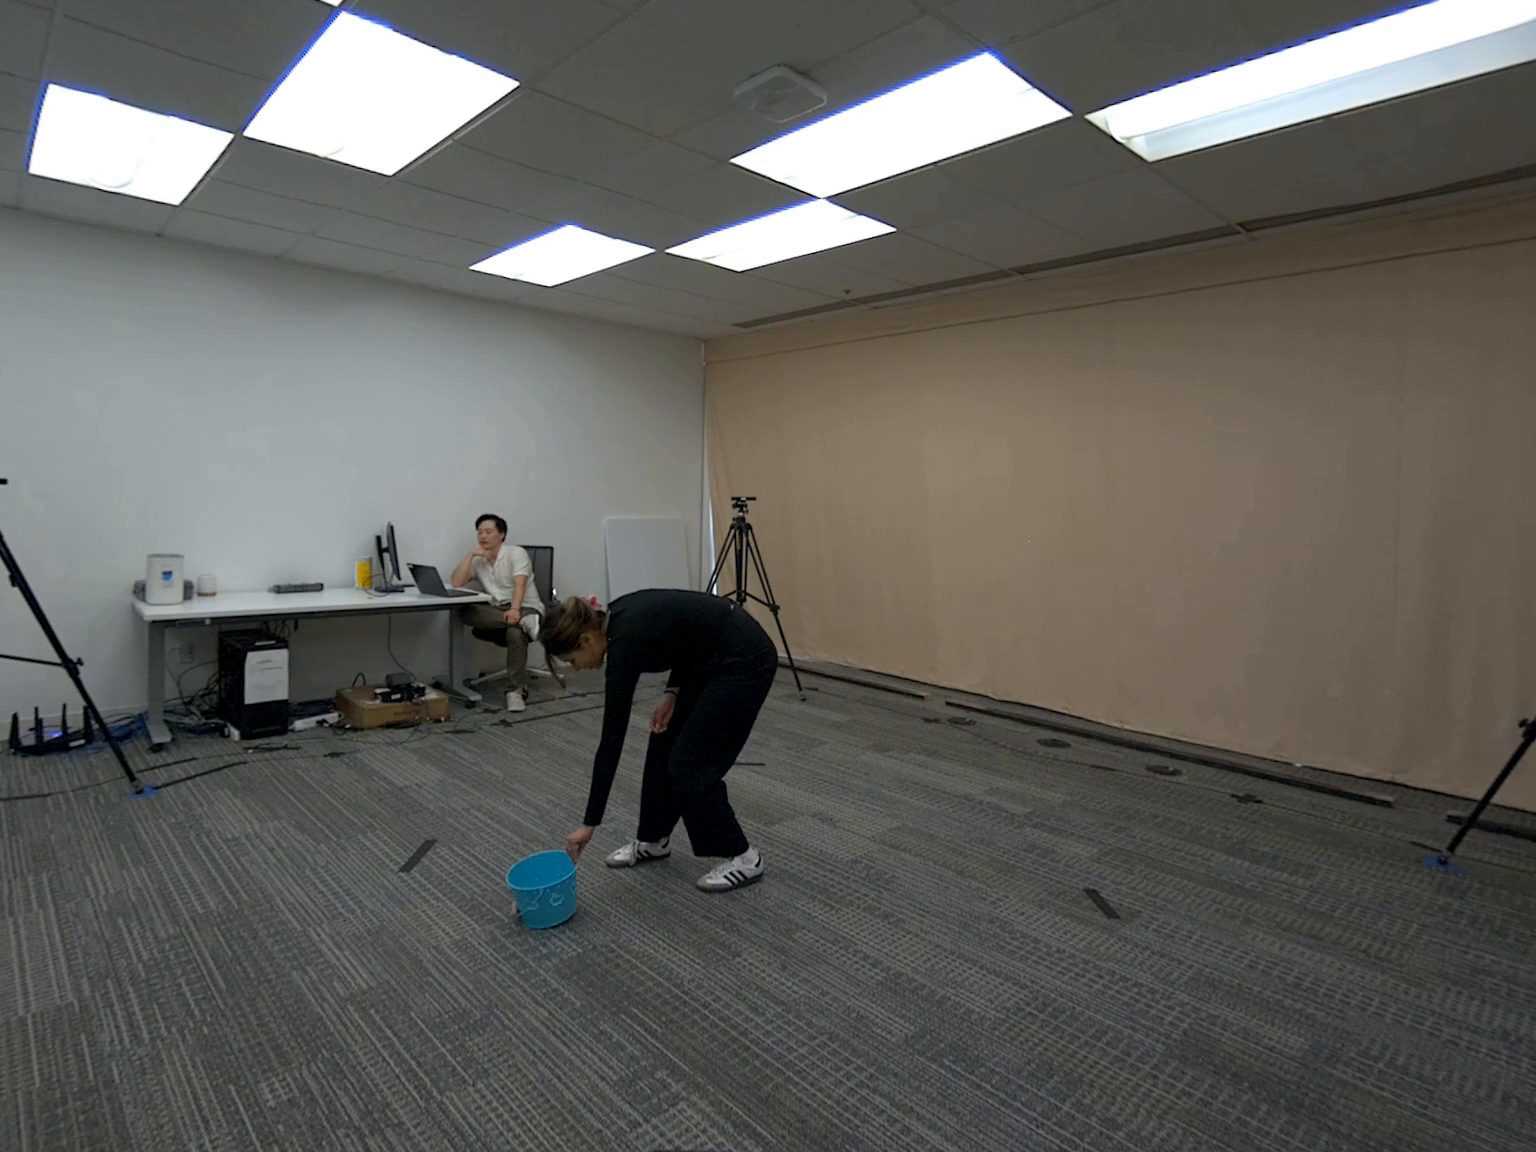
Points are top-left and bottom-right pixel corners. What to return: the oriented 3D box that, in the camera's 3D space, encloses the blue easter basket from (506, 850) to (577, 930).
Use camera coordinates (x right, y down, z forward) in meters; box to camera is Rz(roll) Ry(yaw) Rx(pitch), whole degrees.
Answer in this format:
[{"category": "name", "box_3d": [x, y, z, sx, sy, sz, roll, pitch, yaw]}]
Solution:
[{"category": "blue easter basket", "box_3d": [-0.739, 1.037, 2.760, 0.243, 0.154, 0.245, -6, 11, 0]}]
